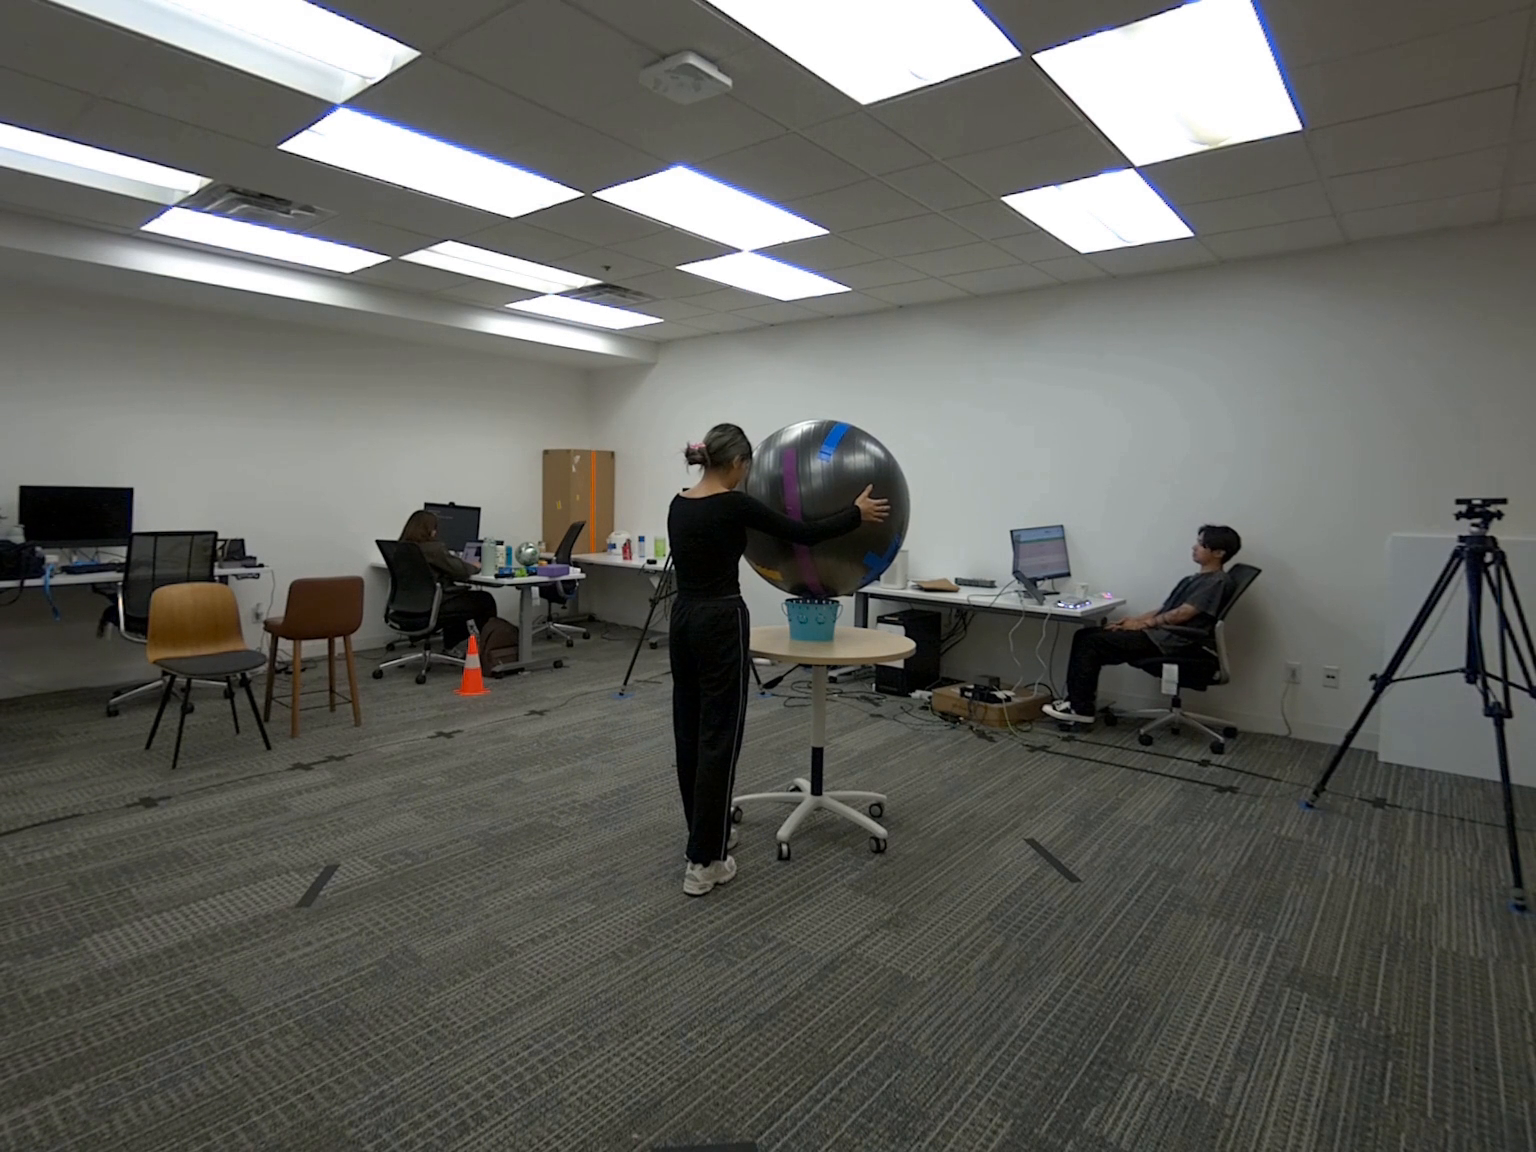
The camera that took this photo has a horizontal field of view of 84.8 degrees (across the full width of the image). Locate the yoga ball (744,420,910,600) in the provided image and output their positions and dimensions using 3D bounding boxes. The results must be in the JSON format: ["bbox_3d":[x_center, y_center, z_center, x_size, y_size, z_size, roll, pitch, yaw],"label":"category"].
[{"bbox_3d":[0.220,-0.284,3.621,0.757,0.756,0.762,1,4,-2],"label":"yoga ball"}]
